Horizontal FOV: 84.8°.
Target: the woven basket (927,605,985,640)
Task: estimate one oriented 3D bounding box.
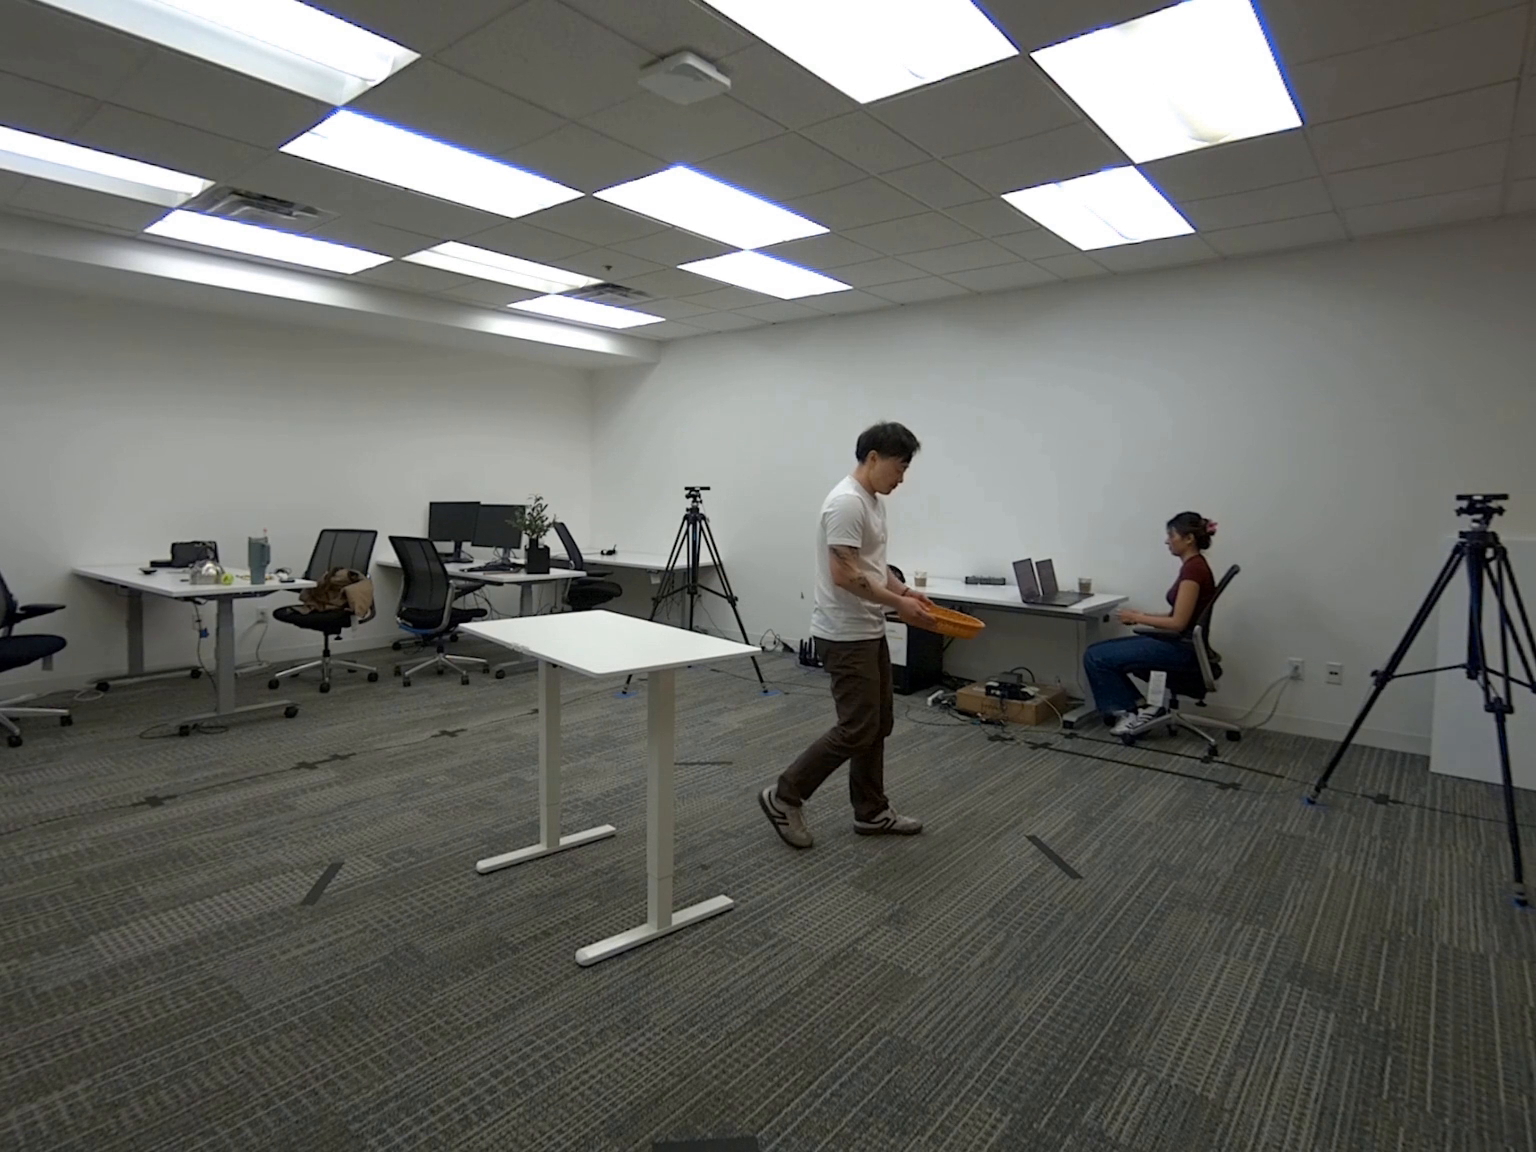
[{"bbox_3d":[0.650,0.175,3.288,0.358,0.073,0.248,16,10,17],"label":"woven basket"}]
